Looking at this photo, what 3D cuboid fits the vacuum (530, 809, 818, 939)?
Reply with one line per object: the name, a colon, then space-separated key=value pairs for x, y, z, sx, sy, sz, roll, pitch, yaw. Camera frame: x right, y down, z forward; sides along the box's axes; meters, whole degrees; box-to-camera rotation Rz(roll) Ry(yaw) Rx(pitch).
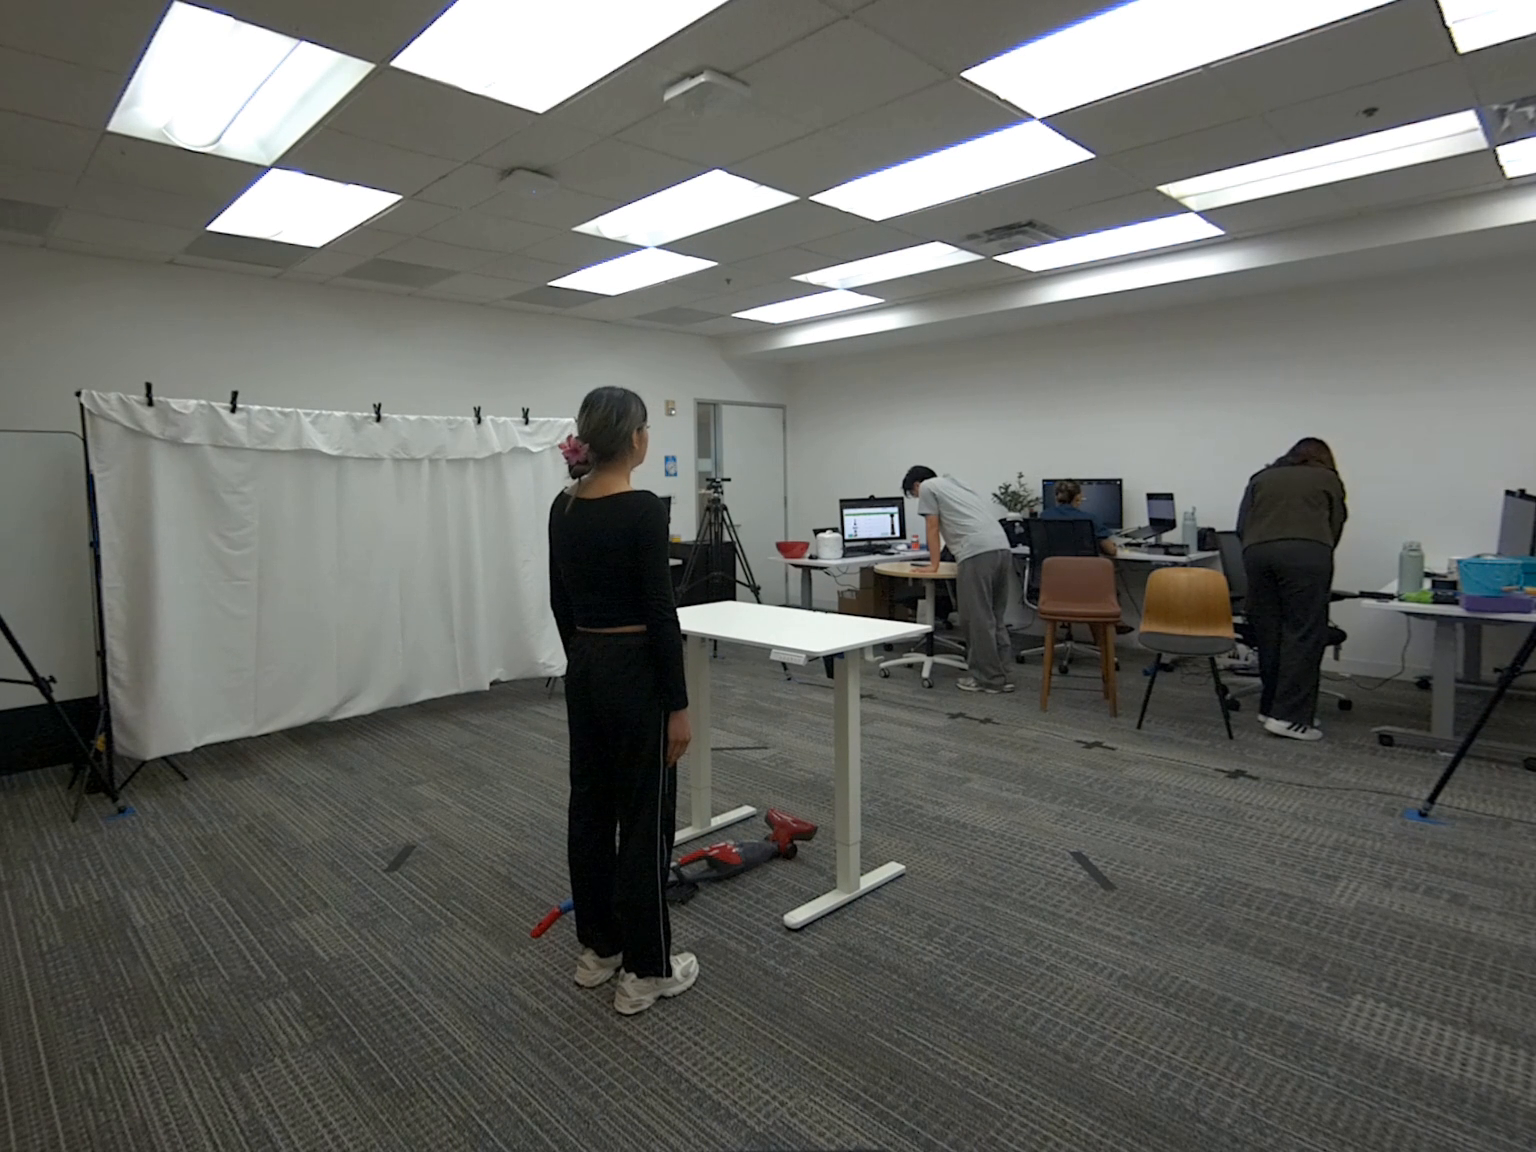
vacuum: x=-0.307 y=1.024 z=2.864 sx=1.023 sy=0.143 sz=0.260 roll=-8 pitch=9 yaw=-41
